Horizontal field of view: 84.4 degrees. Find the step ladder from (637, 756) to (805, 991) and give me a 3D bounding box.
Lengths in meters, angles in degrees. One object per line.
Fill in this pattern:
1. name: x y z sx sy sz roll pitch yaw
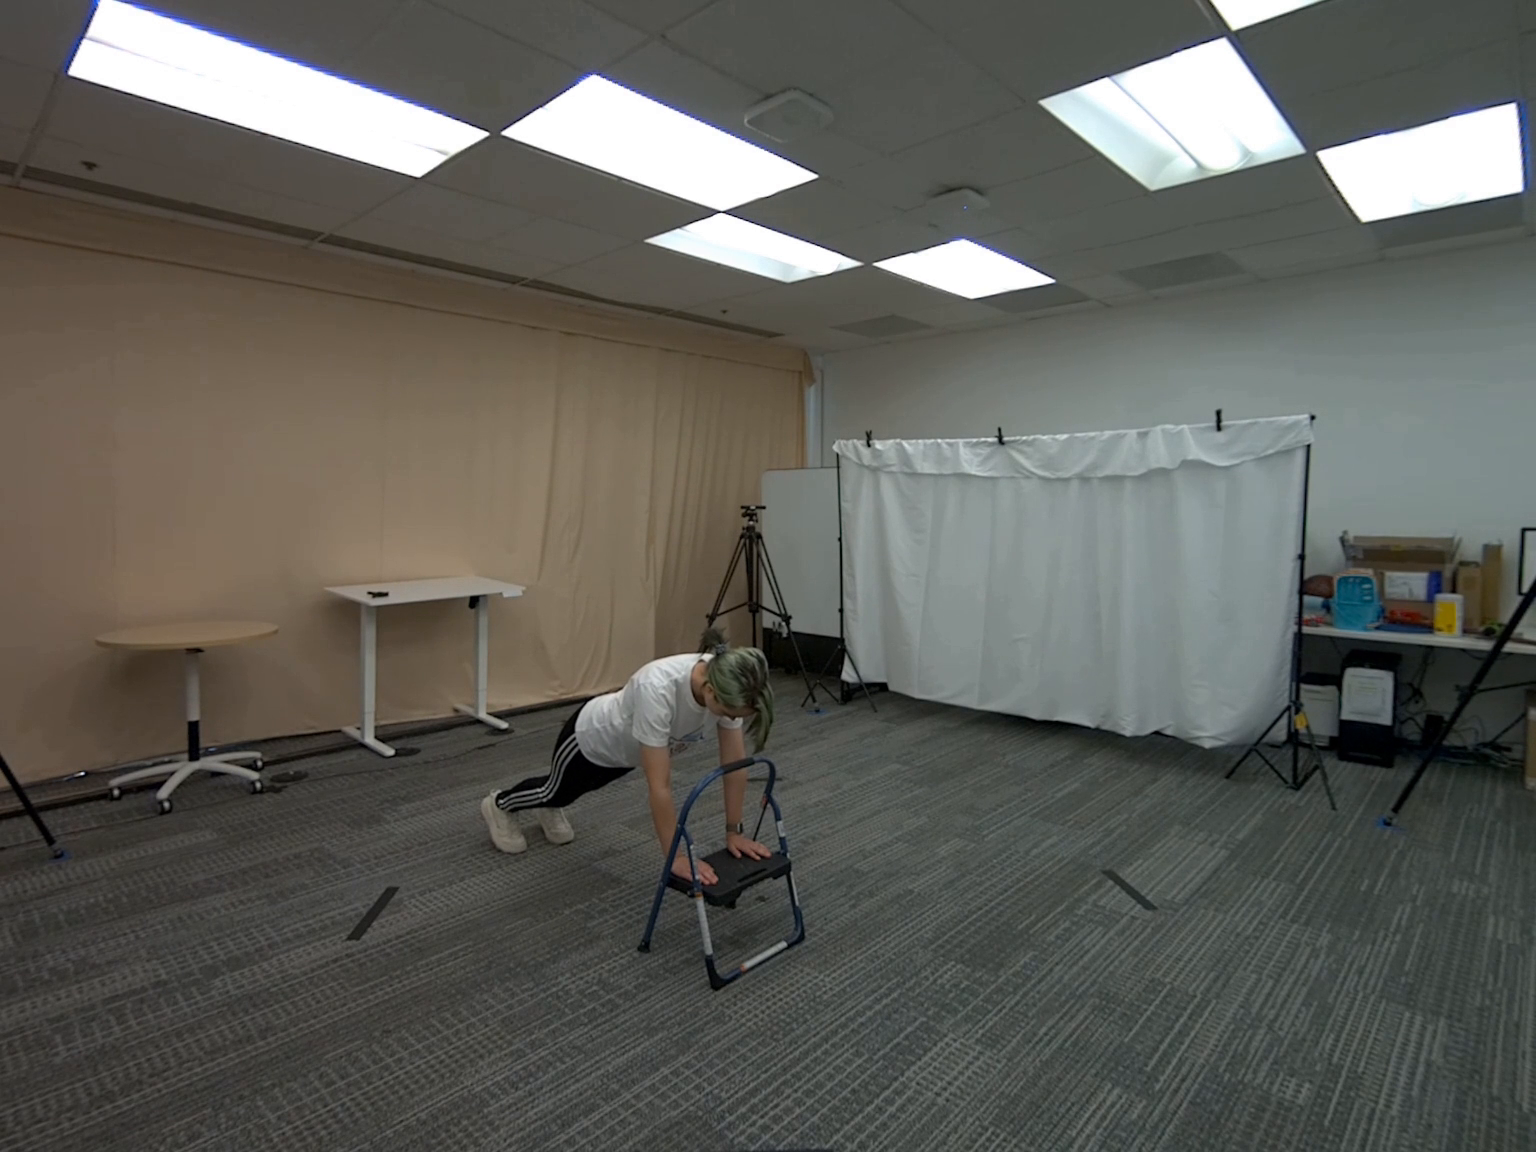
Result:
1. step ladder: -0.138 0.870 2.661 0.361 0.605 0.417 3 4 42
